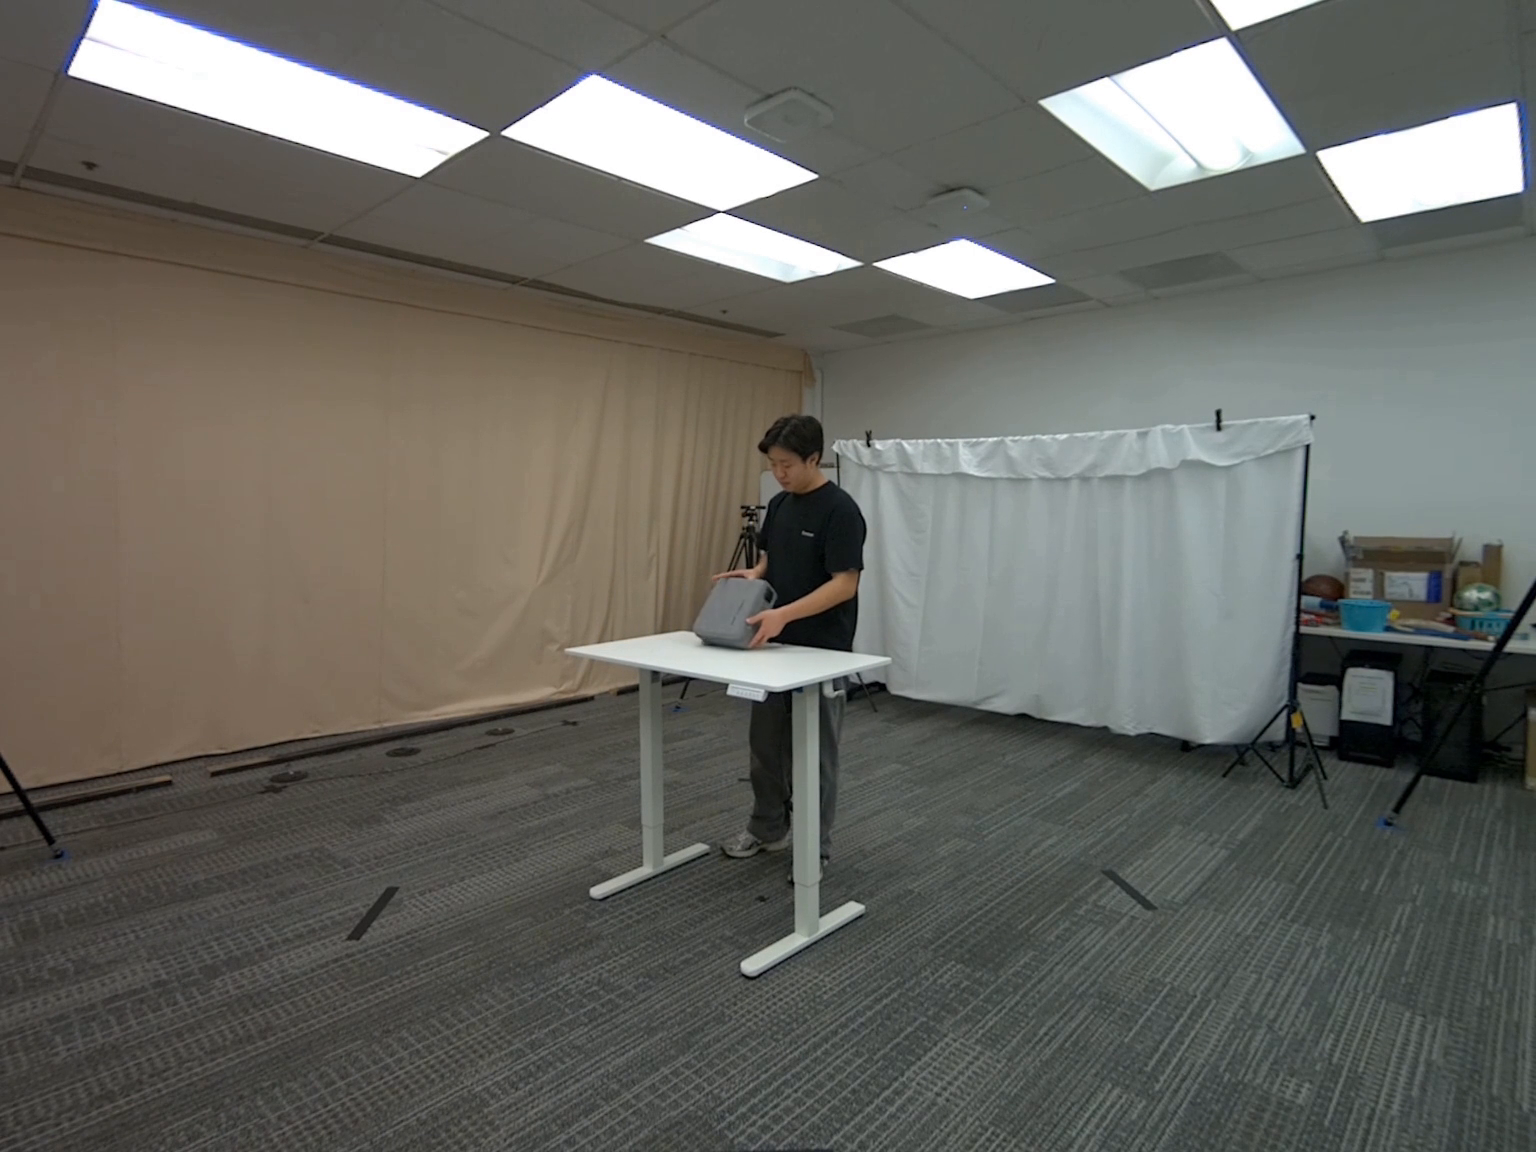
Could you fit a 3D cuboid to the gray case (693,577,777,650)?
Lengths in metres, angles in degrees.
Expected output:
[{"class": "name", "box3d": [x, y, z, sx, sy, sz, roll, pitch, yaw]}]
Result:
[{"class": "gray case", "box3d": [-0.124, 0.140, 3.070, 0.269, 0.257, 0.101, 4, -30, 45]}]
